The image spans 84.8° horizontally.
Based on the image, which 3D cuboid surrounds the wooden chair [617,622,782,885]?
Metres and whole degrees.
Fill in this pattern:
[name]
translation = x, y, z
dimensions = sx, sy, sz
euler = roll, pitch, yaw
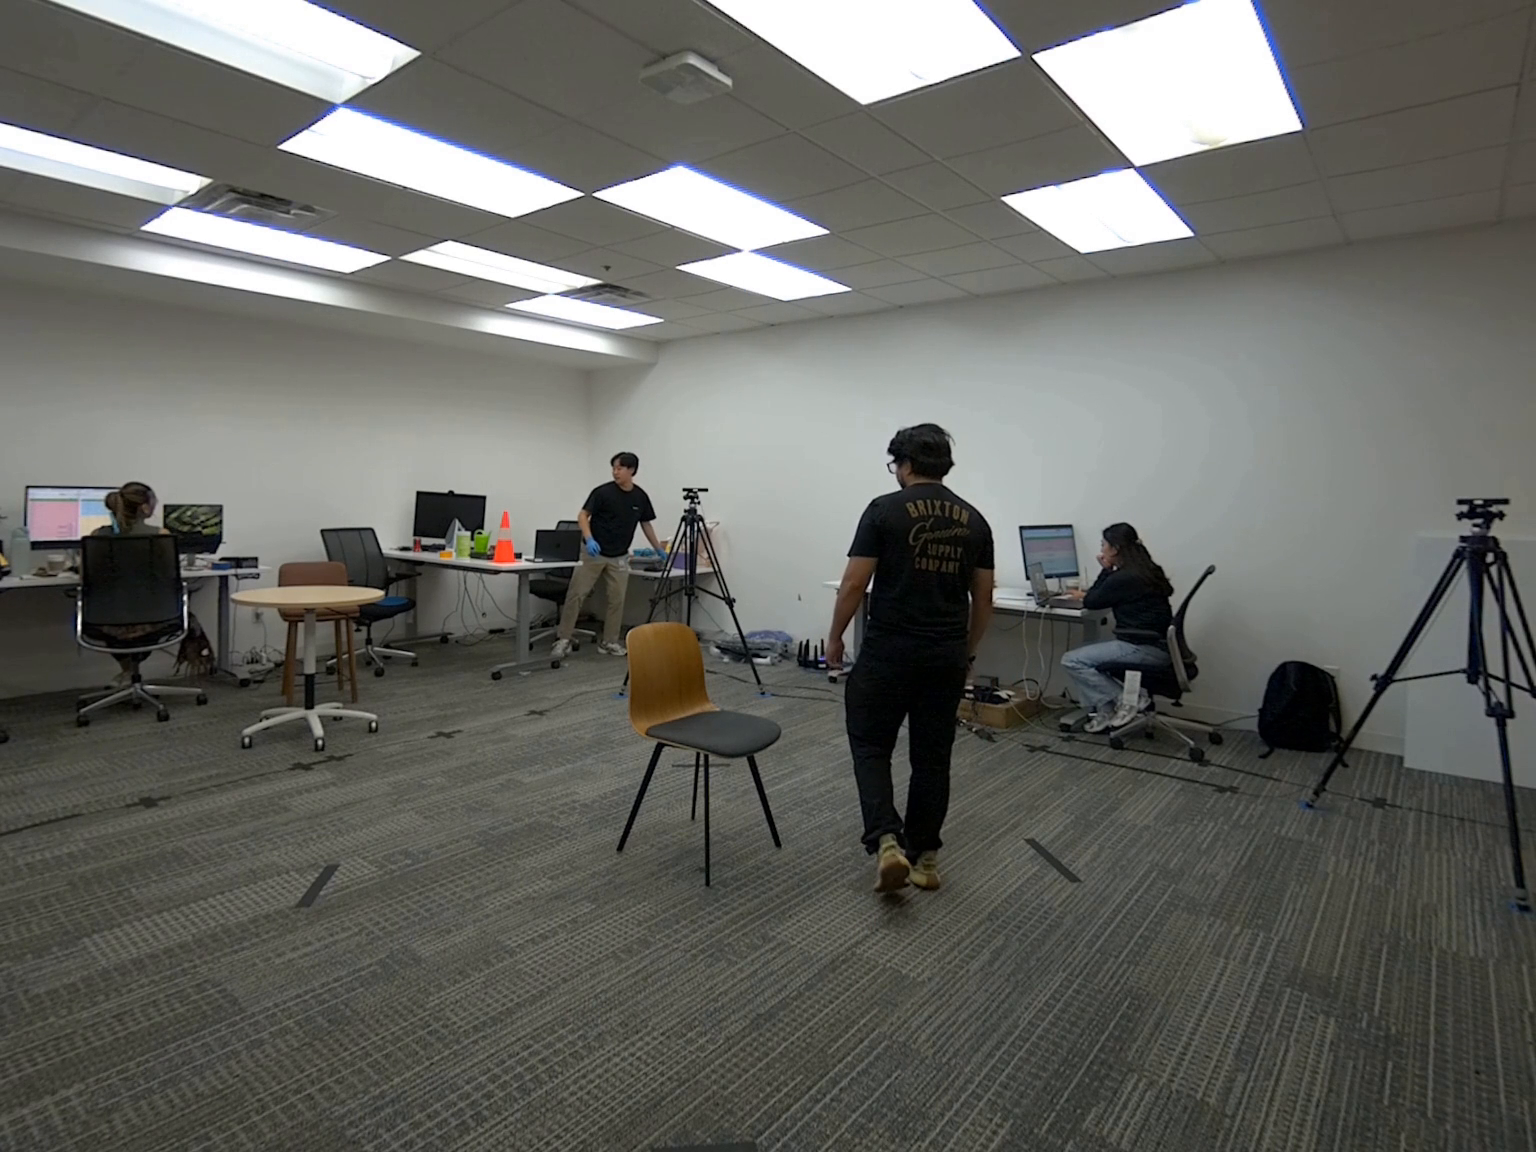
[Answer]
[wooden chair]
translation = -0.256, 0.628, 3.250
dimensions = 0.539, 0.877, 0.464
euler = -2, 0, 38
